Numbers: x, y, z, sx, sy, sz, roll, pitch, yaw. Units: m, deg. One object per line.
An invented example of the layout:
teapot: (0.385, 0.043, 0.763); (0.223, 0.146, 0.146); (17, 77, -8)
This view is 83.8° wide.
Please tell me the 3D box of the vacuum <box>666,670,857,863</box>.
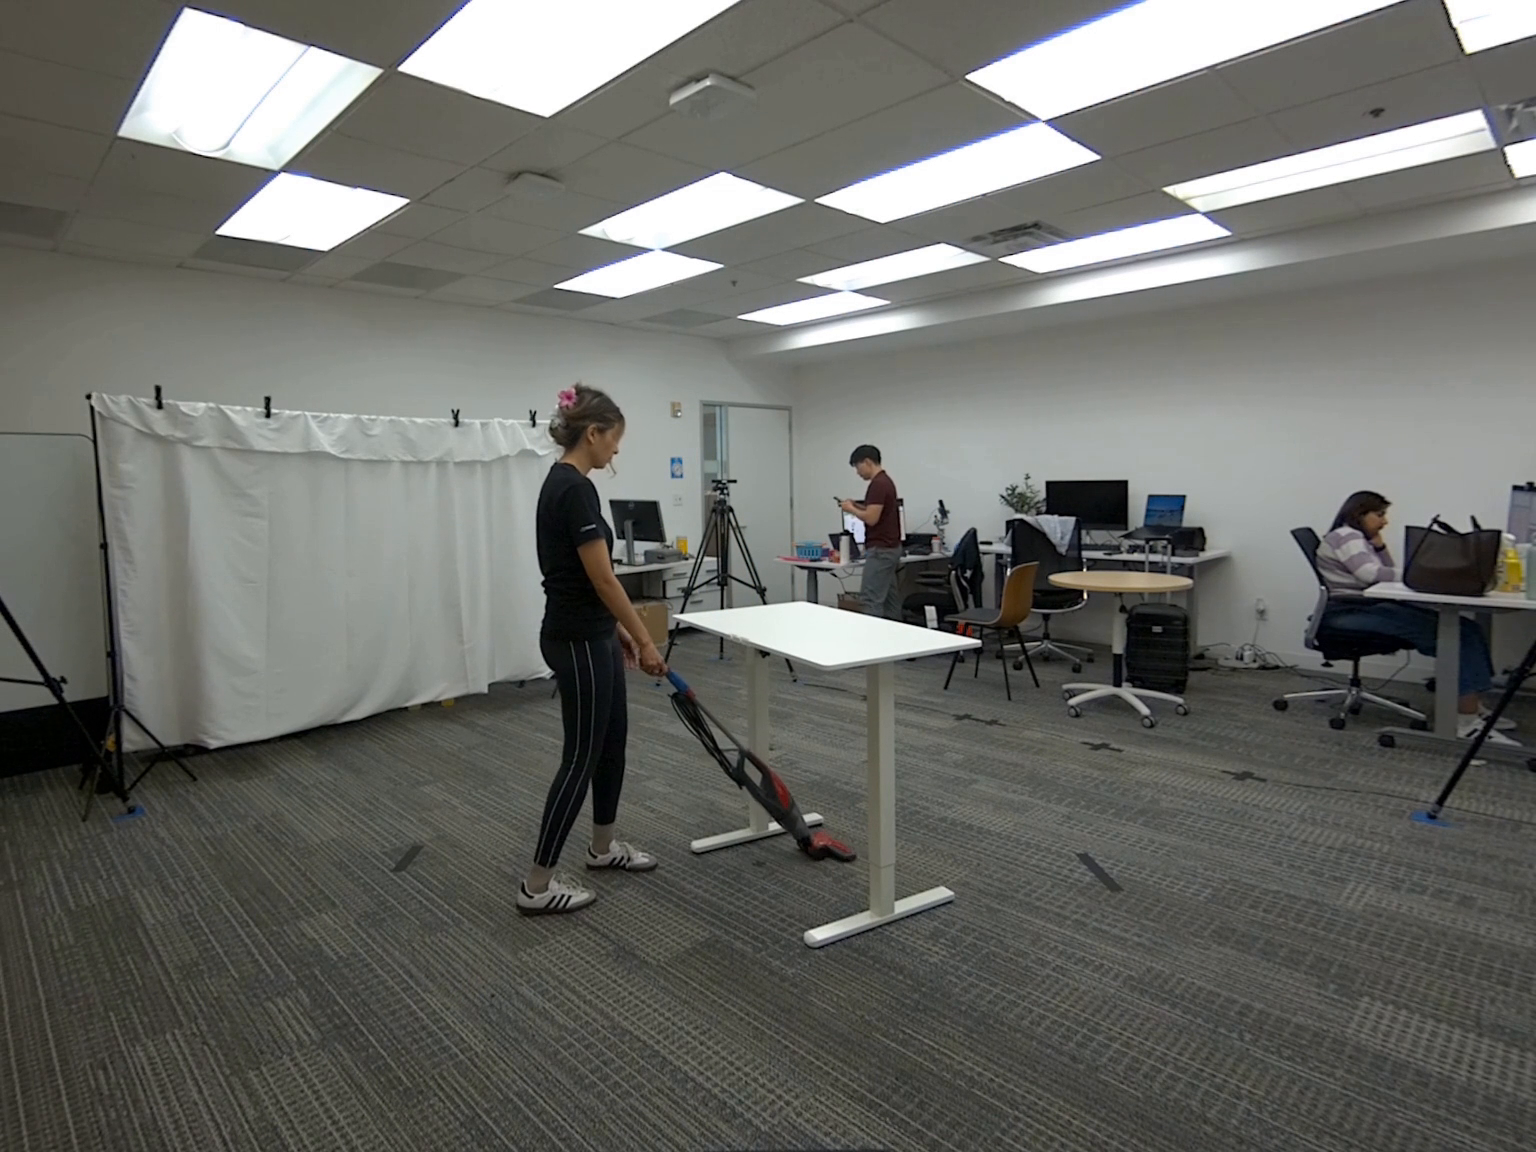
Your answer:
vacuum: (-0.101, 0.678, 3.043); (0.144, 1.024, 0.258); (-49, 20, -15)
